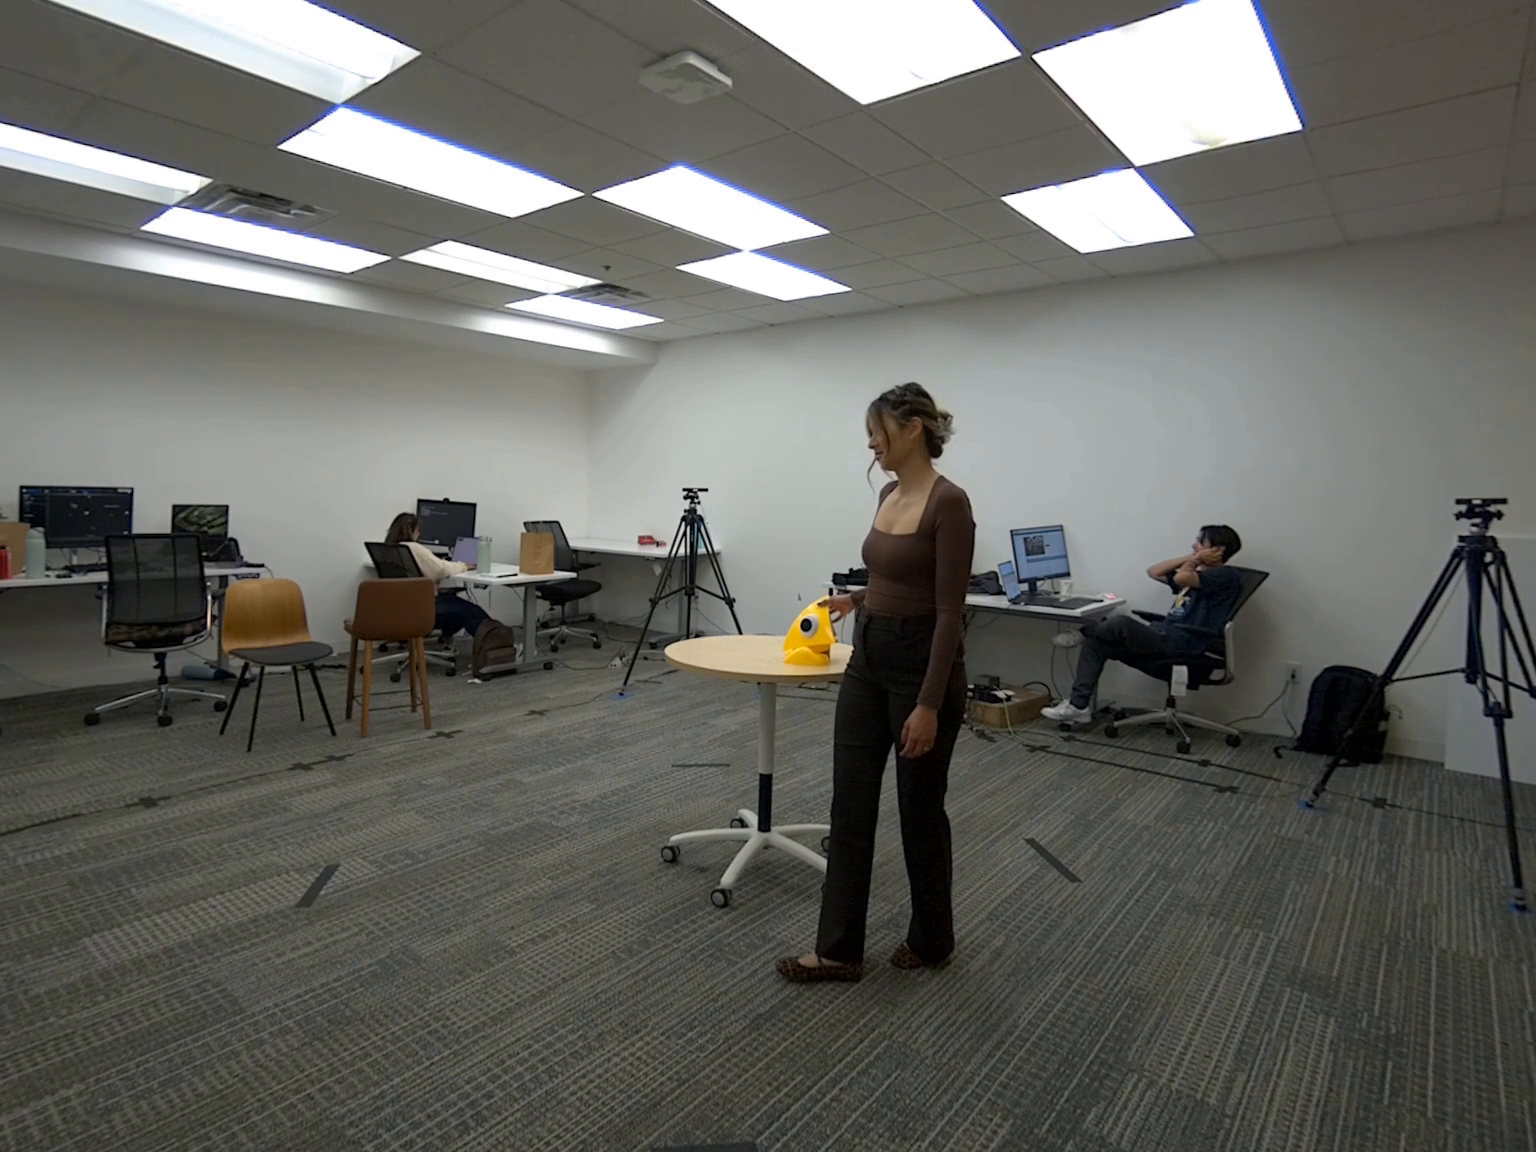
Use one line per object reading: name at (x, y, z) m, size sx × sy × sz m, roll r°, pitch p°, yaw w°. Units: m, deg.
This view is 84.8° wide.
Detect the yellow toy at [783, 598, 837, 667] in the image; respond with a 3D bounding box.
yellow toy at (0.139, 0.178, 2.986) m, size 0.194 × 0.230 × 0.204 m, roll 3°, pitch 3°, yaw 6°
